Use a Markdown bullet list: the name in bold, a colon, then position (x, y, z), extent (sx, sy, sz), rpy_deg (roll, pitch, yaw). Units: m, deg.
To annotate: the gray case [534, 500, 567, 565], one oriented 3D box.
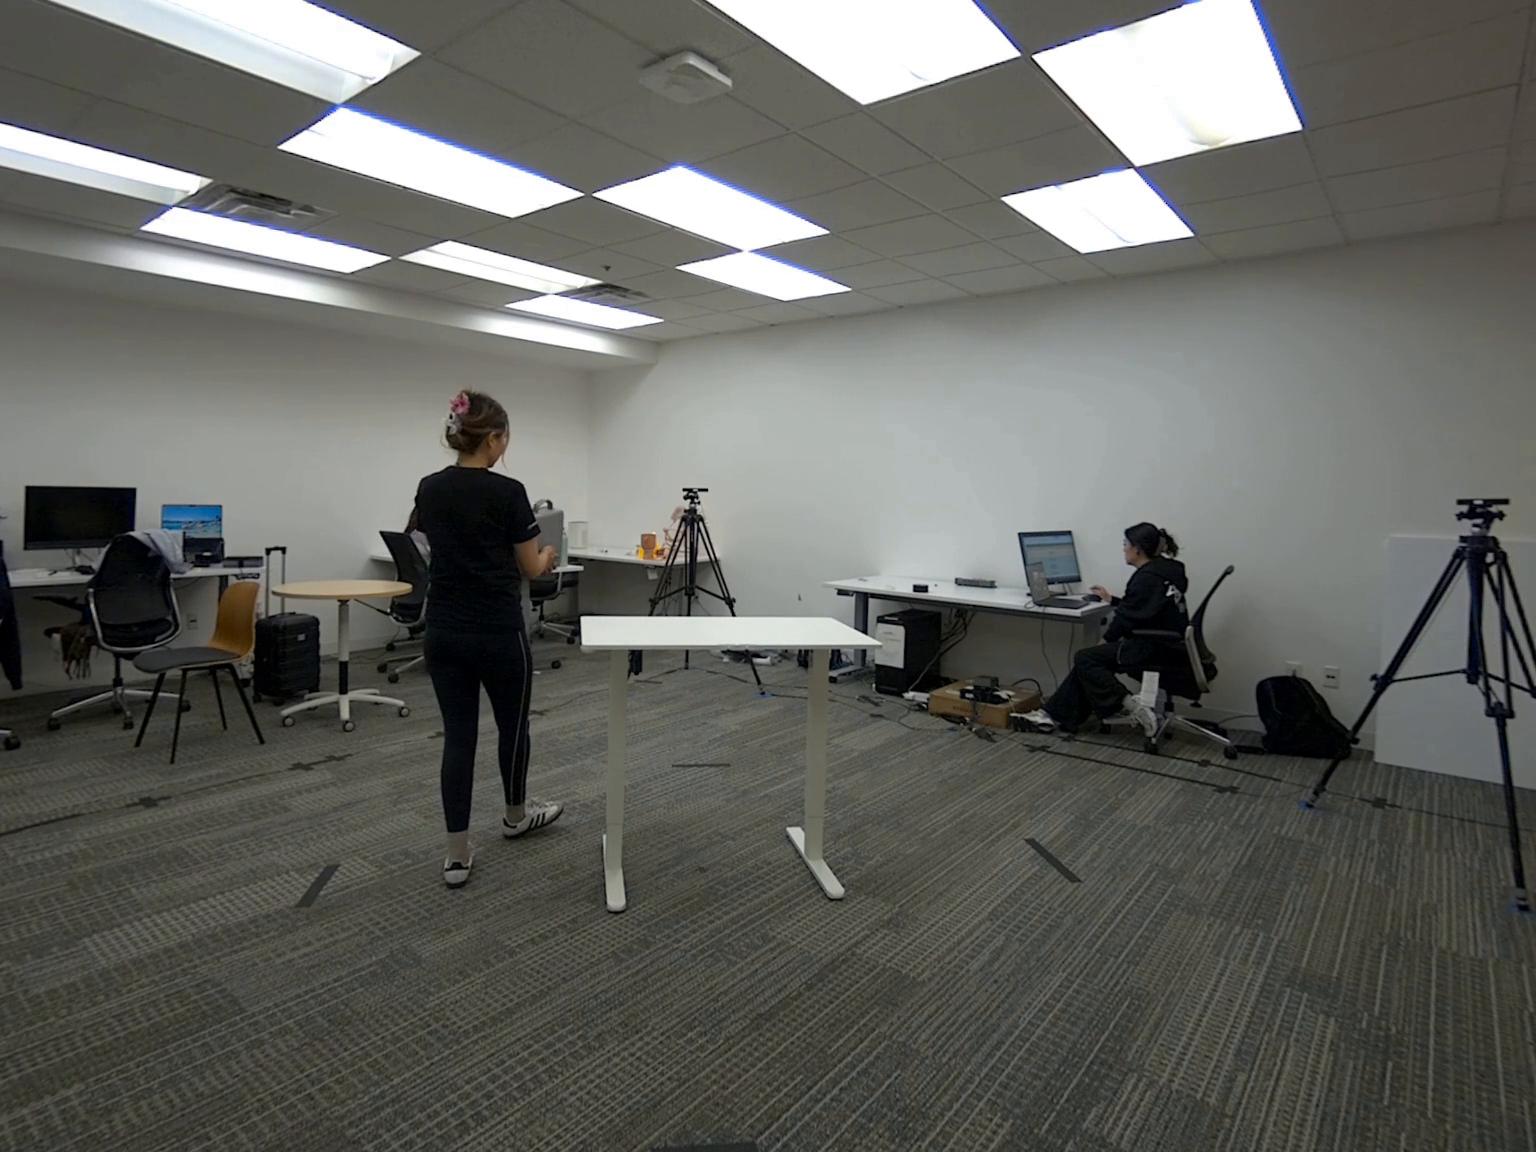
- **gray case**: position (-0.934, -0.148, 3.418), extent (0.106, 0.258, 0.255), rpy_deg (11, 15, 15)
